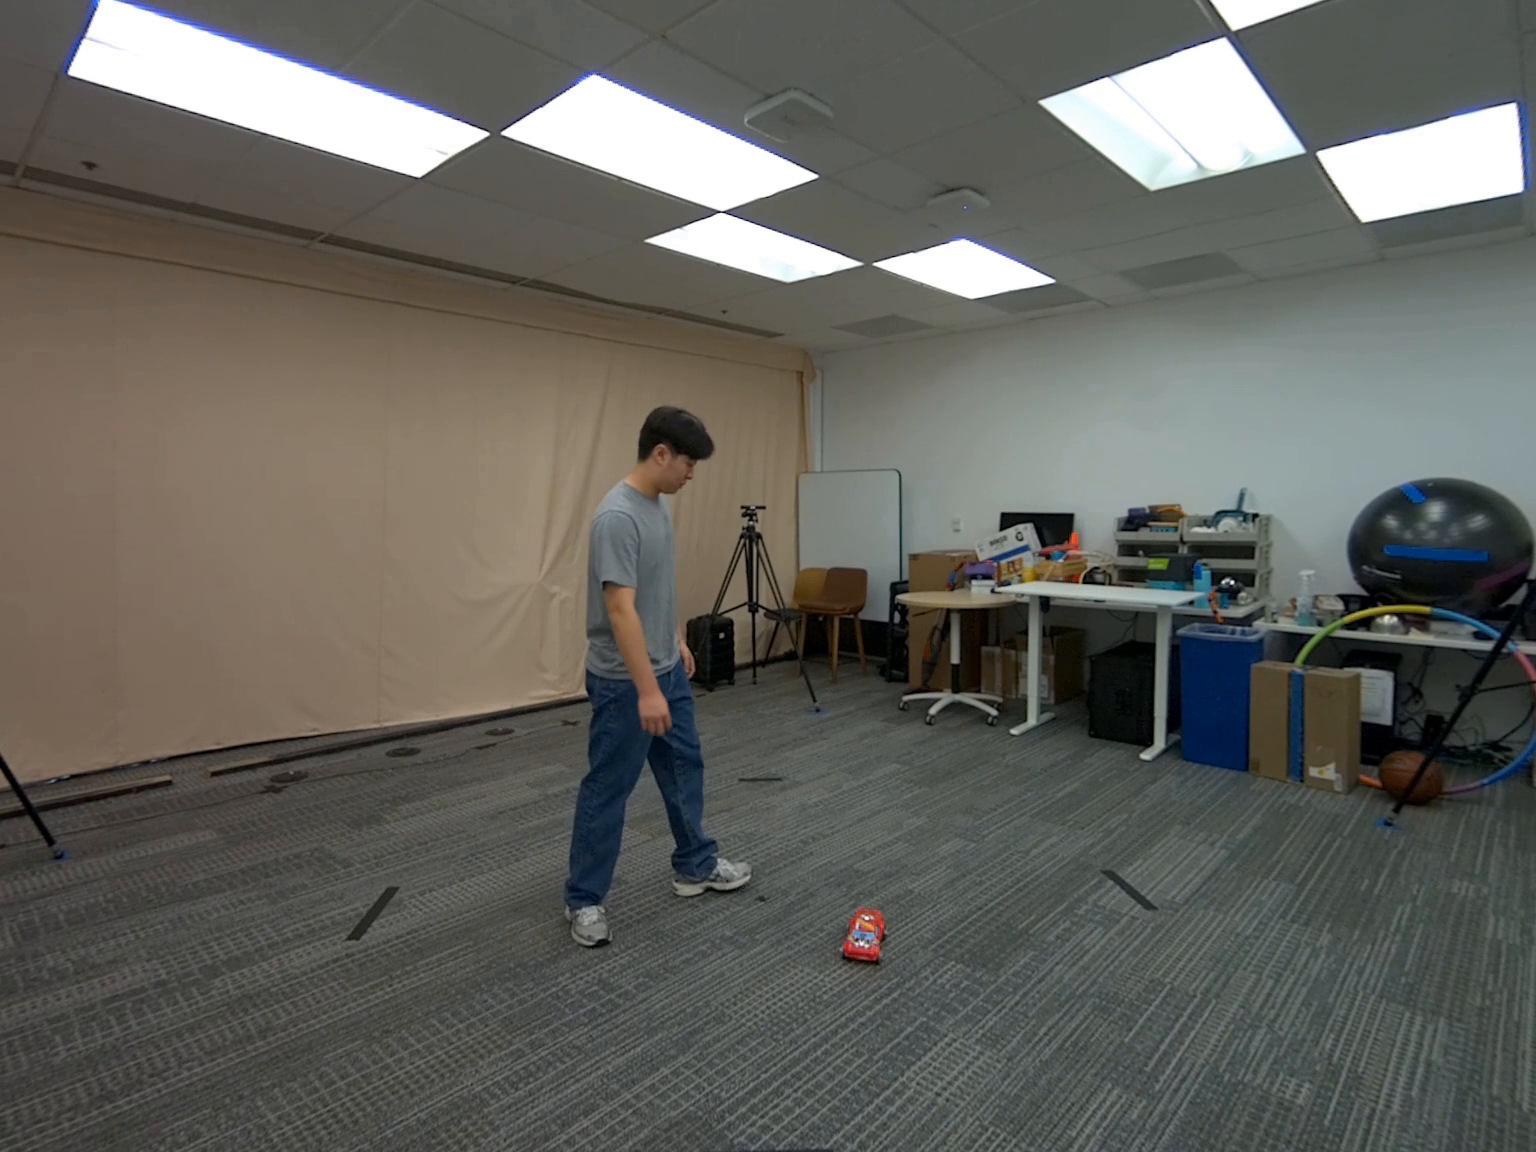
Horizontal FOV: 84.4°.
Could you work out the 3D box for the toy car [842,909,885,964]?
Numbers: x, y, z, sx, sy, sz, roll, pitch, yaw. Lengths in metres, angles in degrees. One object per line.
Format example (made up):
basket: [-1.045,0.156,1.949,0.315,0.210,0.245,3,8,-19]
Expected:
toy car: [0.316,1.141,2.656,0.133,0.082,0.252,1,15,16]
